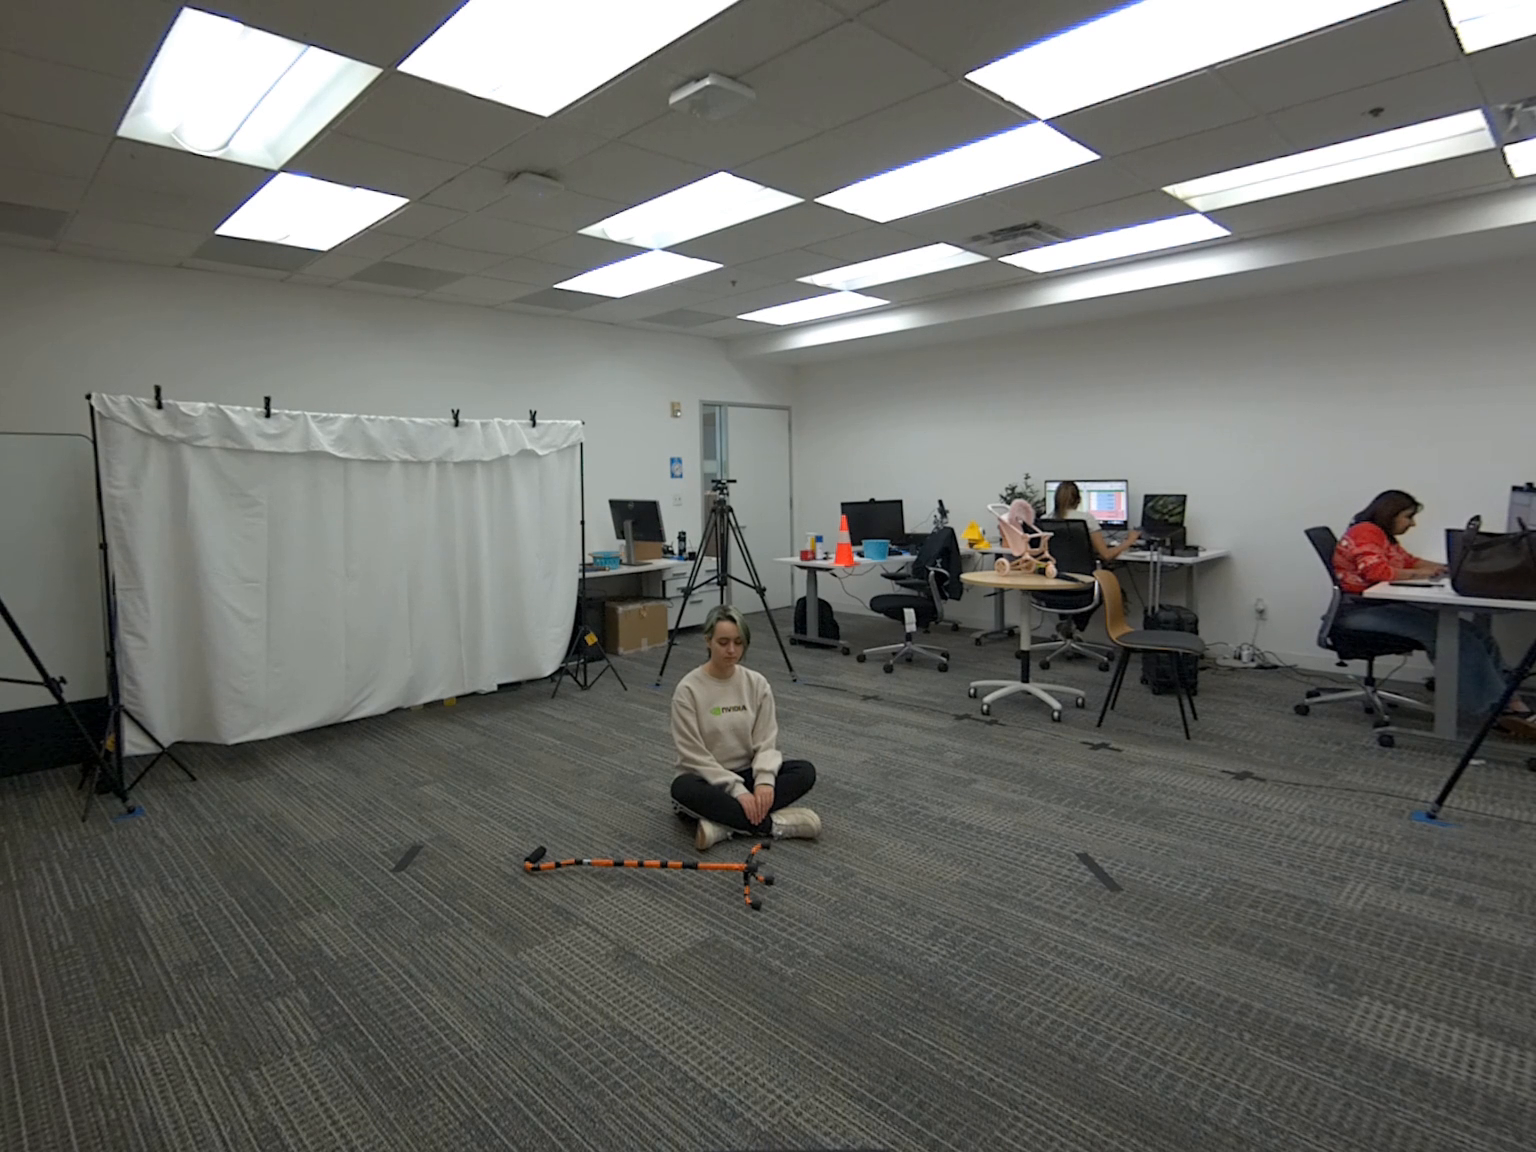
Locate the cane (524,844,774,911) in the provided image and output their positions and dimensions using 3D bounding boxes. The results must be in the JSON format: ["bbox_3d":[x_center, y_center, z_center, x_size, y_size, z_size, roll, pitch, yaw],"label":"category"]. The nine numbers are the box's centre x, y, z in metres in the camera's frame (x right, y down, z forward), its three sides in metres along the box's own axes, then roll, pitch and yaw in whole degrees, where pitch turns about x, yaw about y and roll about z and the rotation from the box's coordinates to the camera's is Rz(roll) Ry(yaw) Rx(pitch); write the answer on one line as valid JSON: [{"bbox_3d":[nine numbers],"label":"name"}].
[{"bbox_3d":[-0.444,1.021,2.993,0.922,0.151,0.204,-4,6,18],"label":"cane"}]
